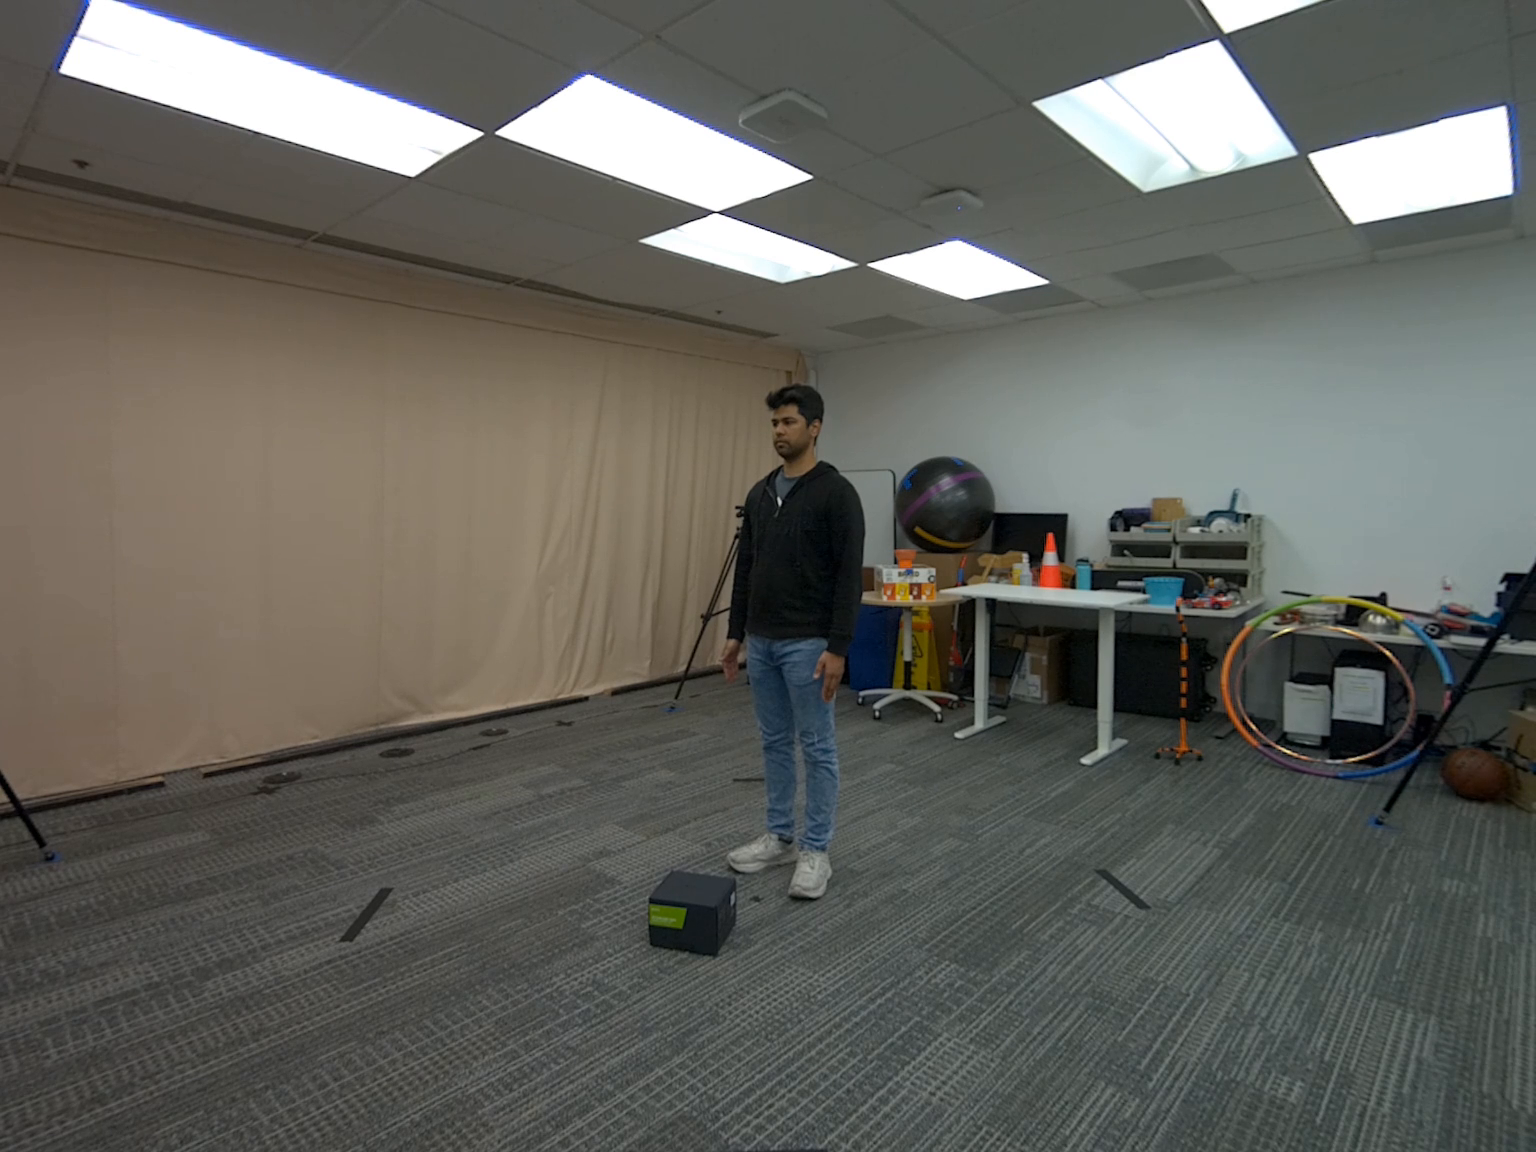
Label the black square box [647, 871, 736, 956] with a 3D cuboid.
[{"bbox_3d":[-0.240,1.081,2.726,0.232,0.155,0.213,1,4,16],"label":"black square box"}]
